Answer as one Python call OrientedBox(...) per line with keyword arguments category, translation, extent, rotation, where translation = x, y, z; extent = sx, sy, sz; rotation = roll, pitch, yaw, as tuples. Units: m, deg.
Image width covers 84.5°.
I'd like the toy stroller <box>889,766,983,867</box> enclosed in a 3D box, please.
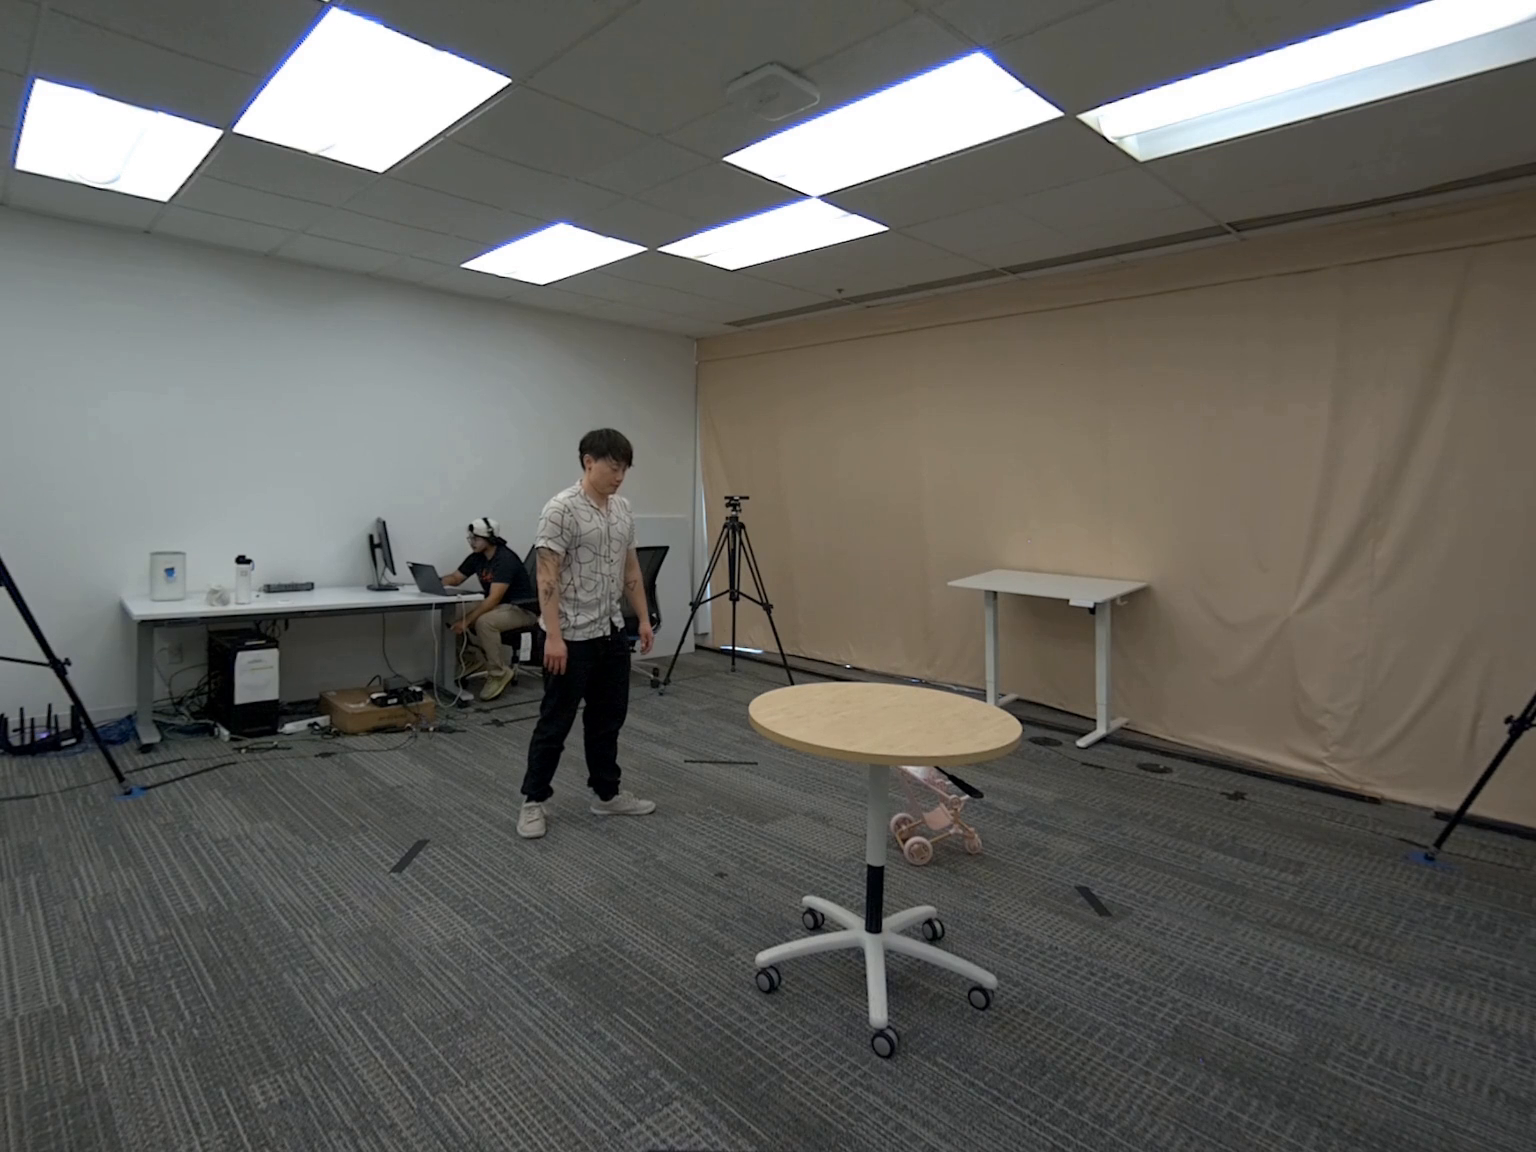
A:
OrientedBox(category="toy stroller", translation=(0.642, 0.887, 3.346), extent=(0.342, 0.534, 0.281), rotation=(-12, 2, 3))
